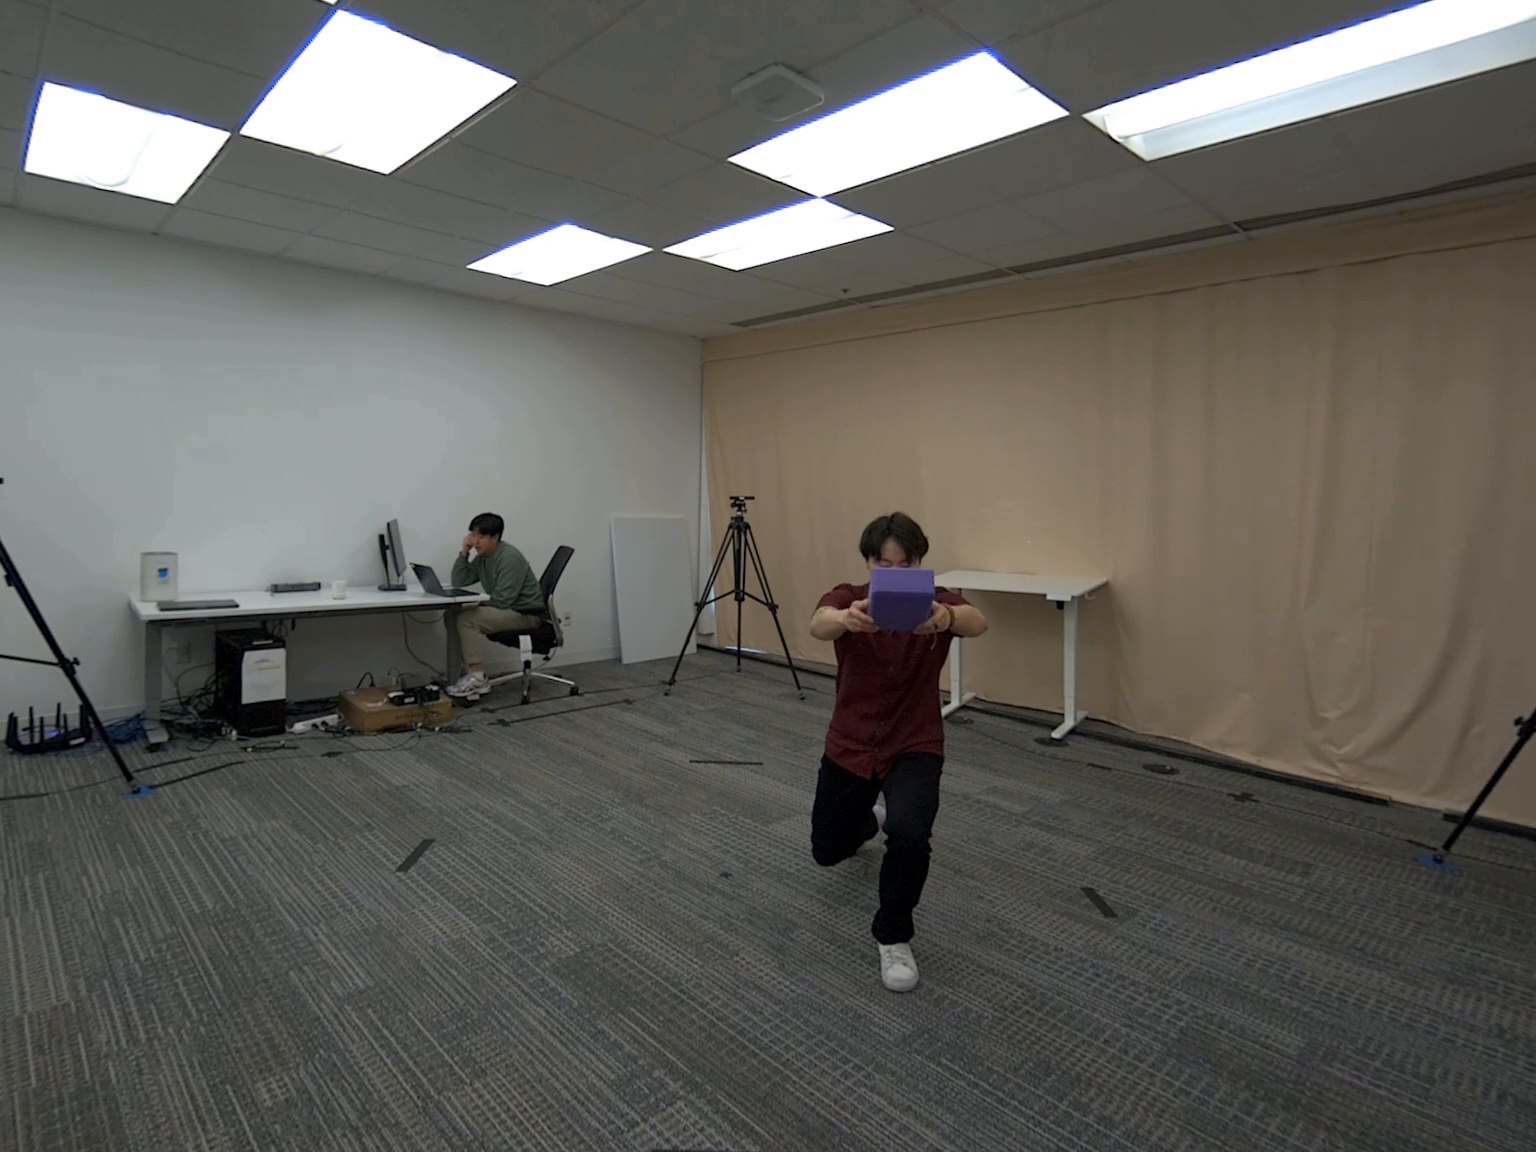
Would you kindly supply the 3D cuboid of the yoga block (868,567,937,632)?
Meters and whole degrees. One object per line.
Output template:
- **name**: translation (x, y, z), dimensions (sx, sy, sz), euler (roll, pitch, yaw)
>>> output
- **yoga block**: translation (0.322, 0.058, 2.104), dimensions (0.150, 0.078, 0.224), euler (1, -25, 6)
